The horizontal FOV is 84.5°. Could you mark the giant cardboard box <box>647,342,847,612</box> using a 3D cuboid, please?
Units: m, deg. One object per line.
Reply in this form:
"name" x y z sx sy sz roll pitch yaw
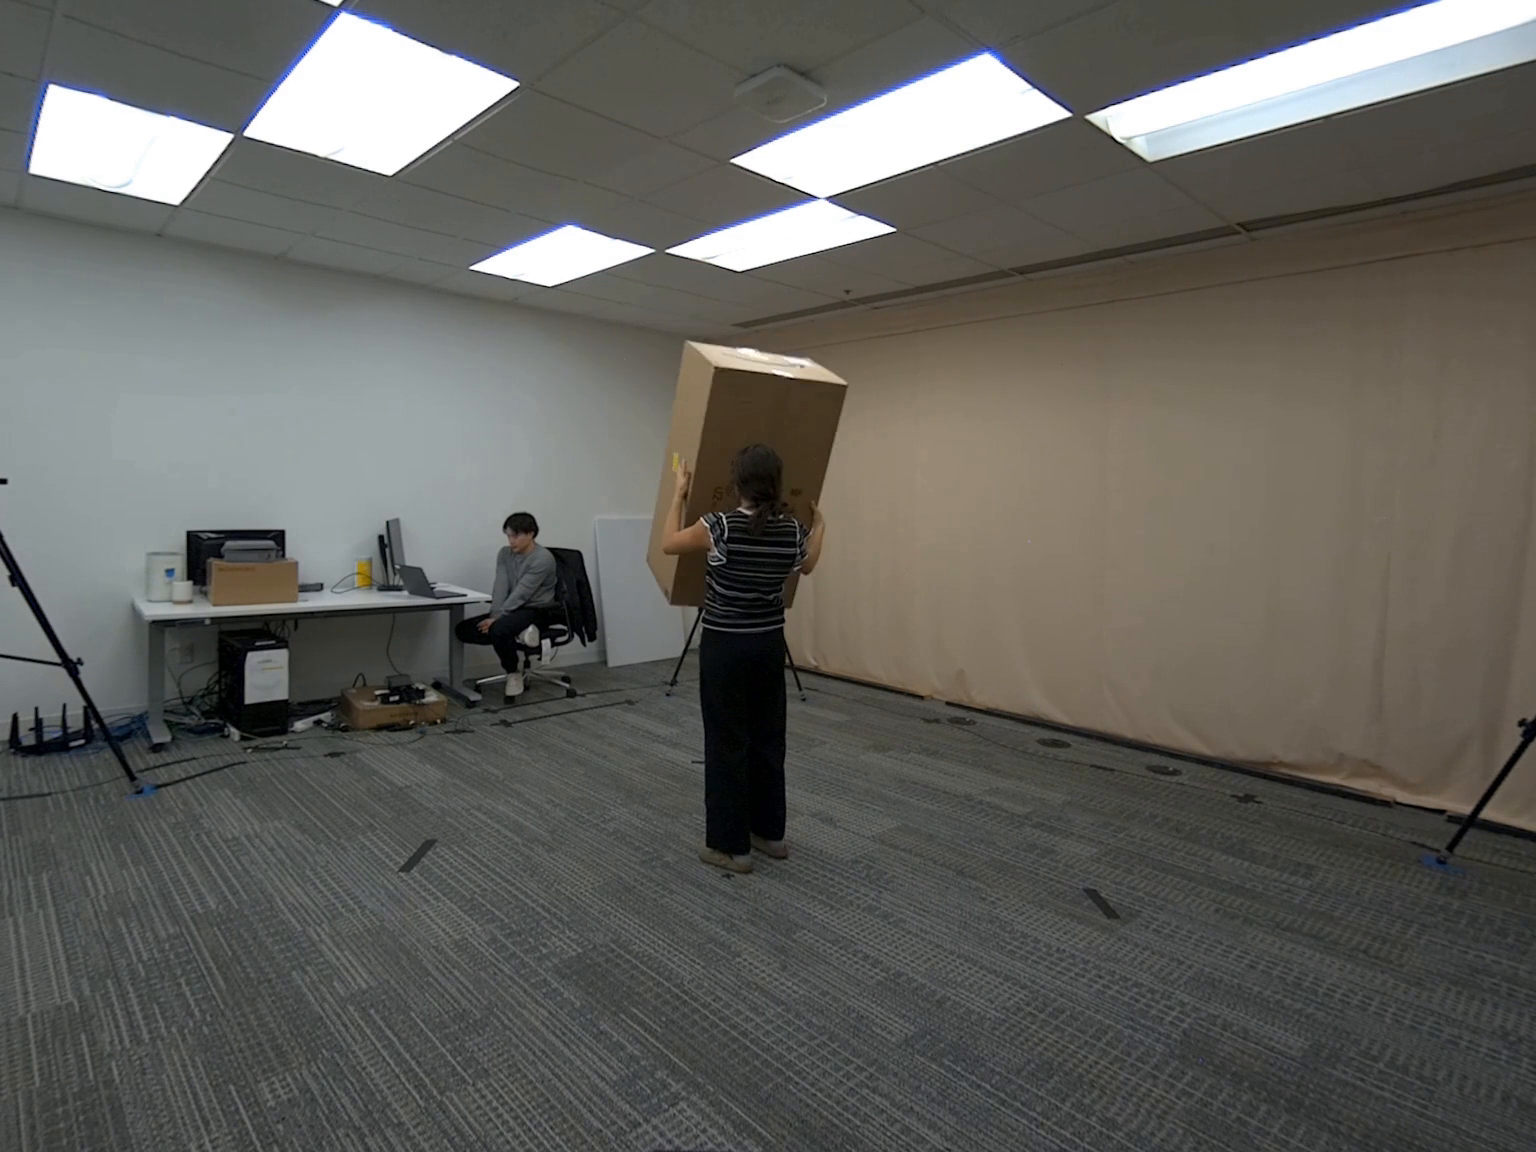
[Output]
"giant cardboard box" -0.132 -0.422 3.586 0.567 1.014 0.439 3 25 -23
